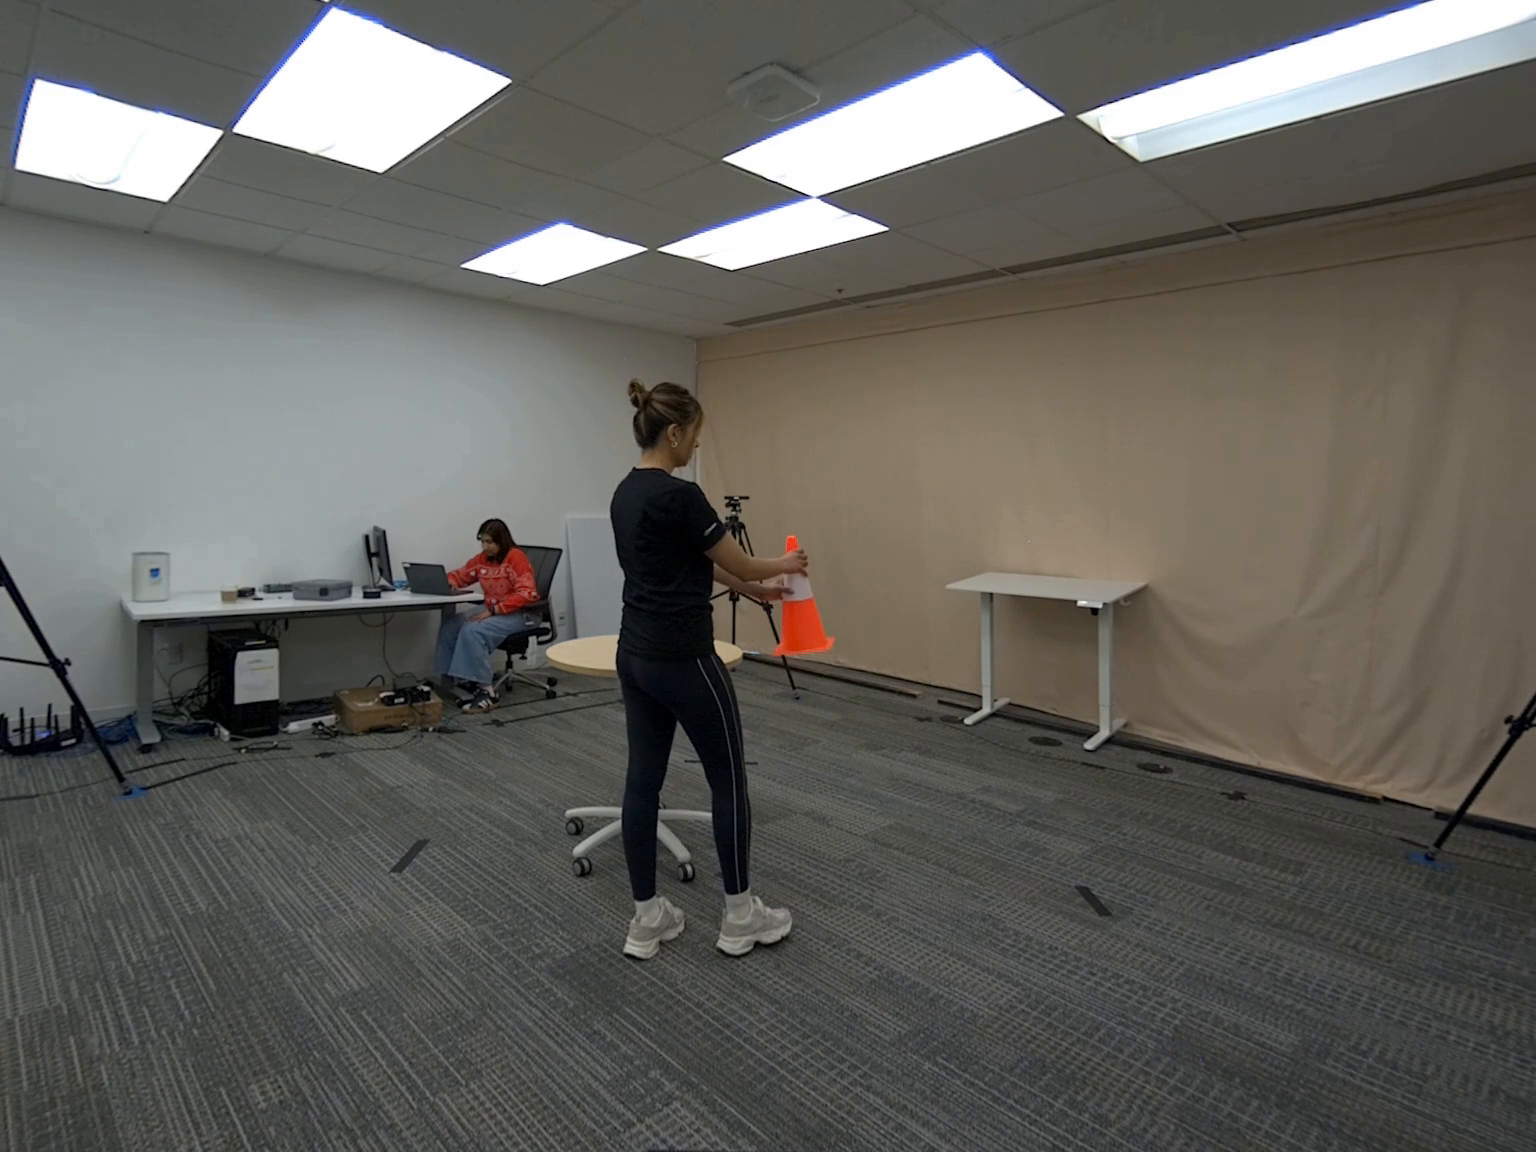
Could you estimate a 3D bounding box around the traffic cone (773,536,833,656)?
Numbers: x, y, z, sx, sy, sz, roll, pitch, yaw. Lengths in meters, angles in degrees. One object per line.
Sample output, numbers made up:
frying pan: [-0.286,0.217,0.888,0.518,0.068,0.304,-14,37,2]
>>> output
traffic cone: [0.101,0.058,2.864,0.205,0.382,0.204,-3,6,9]
